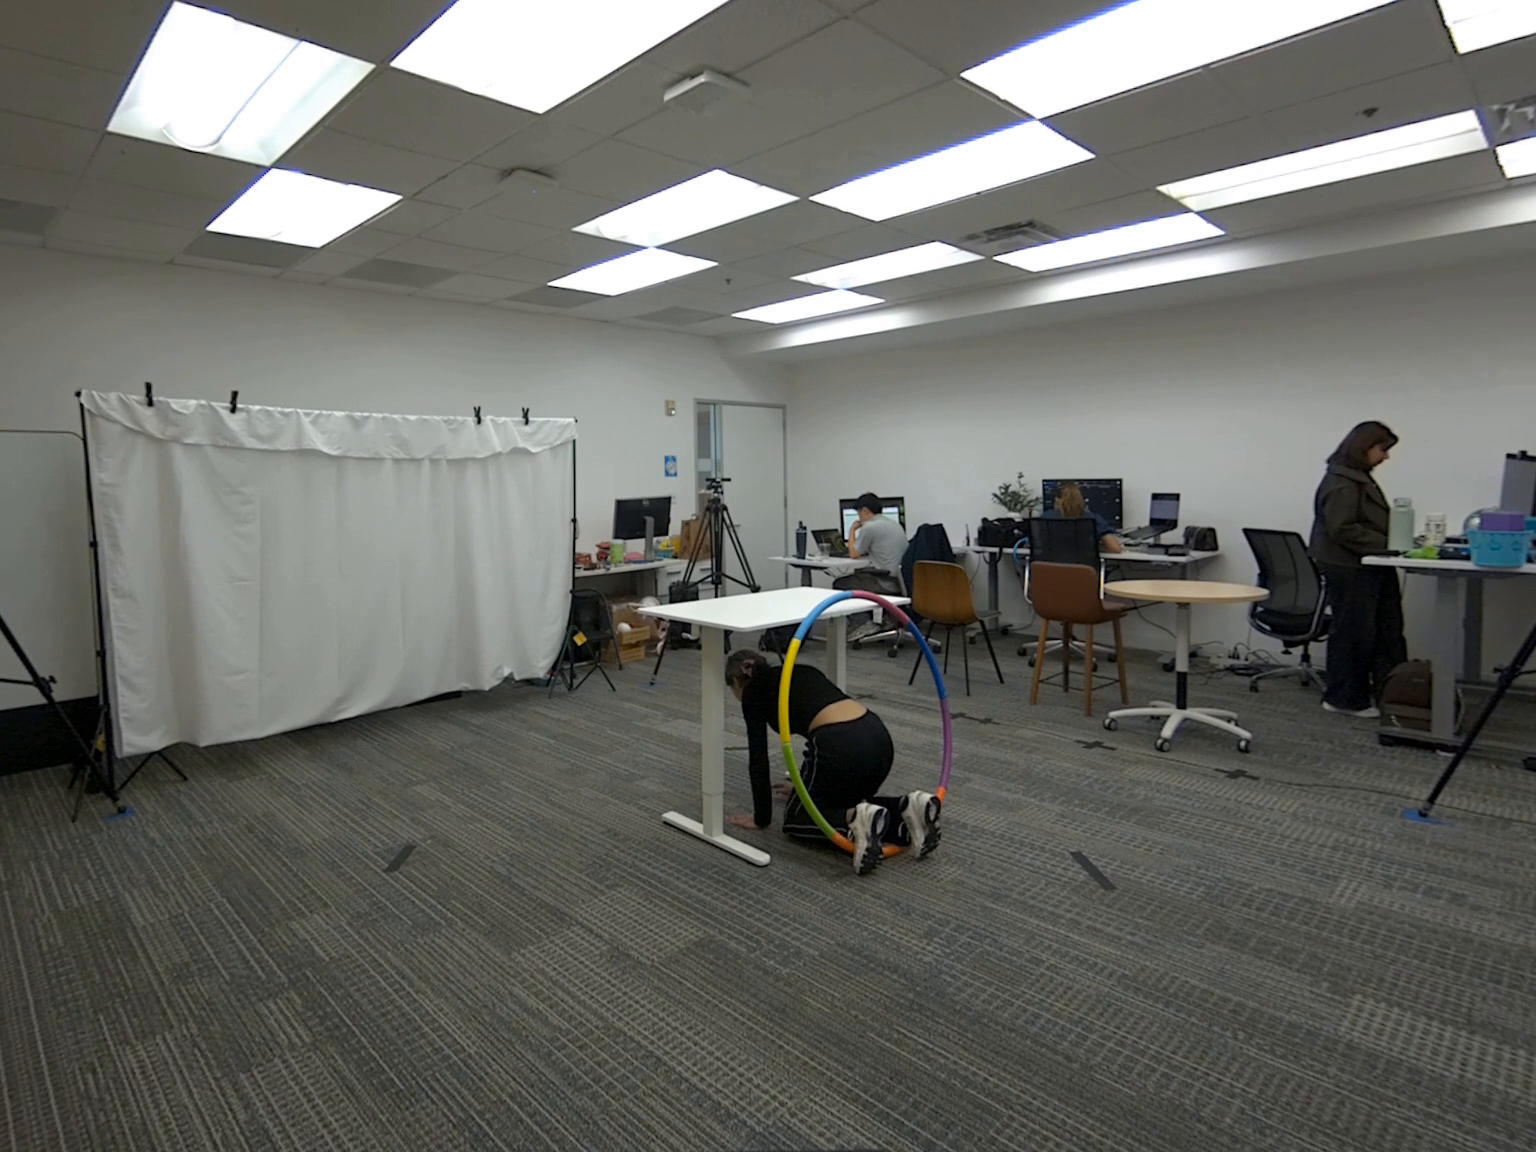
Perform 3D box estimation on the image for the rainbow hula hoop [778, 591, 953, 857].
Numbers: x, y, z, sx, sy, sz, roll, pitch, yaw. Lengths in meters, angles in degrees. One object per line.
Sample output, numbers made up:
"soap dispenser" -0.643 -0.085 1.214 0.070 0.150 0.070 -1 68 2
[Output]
"rainbow hula hoop" 0.402 0.549 3.246 0.953 0.987 0.036 -6 -10 -44
